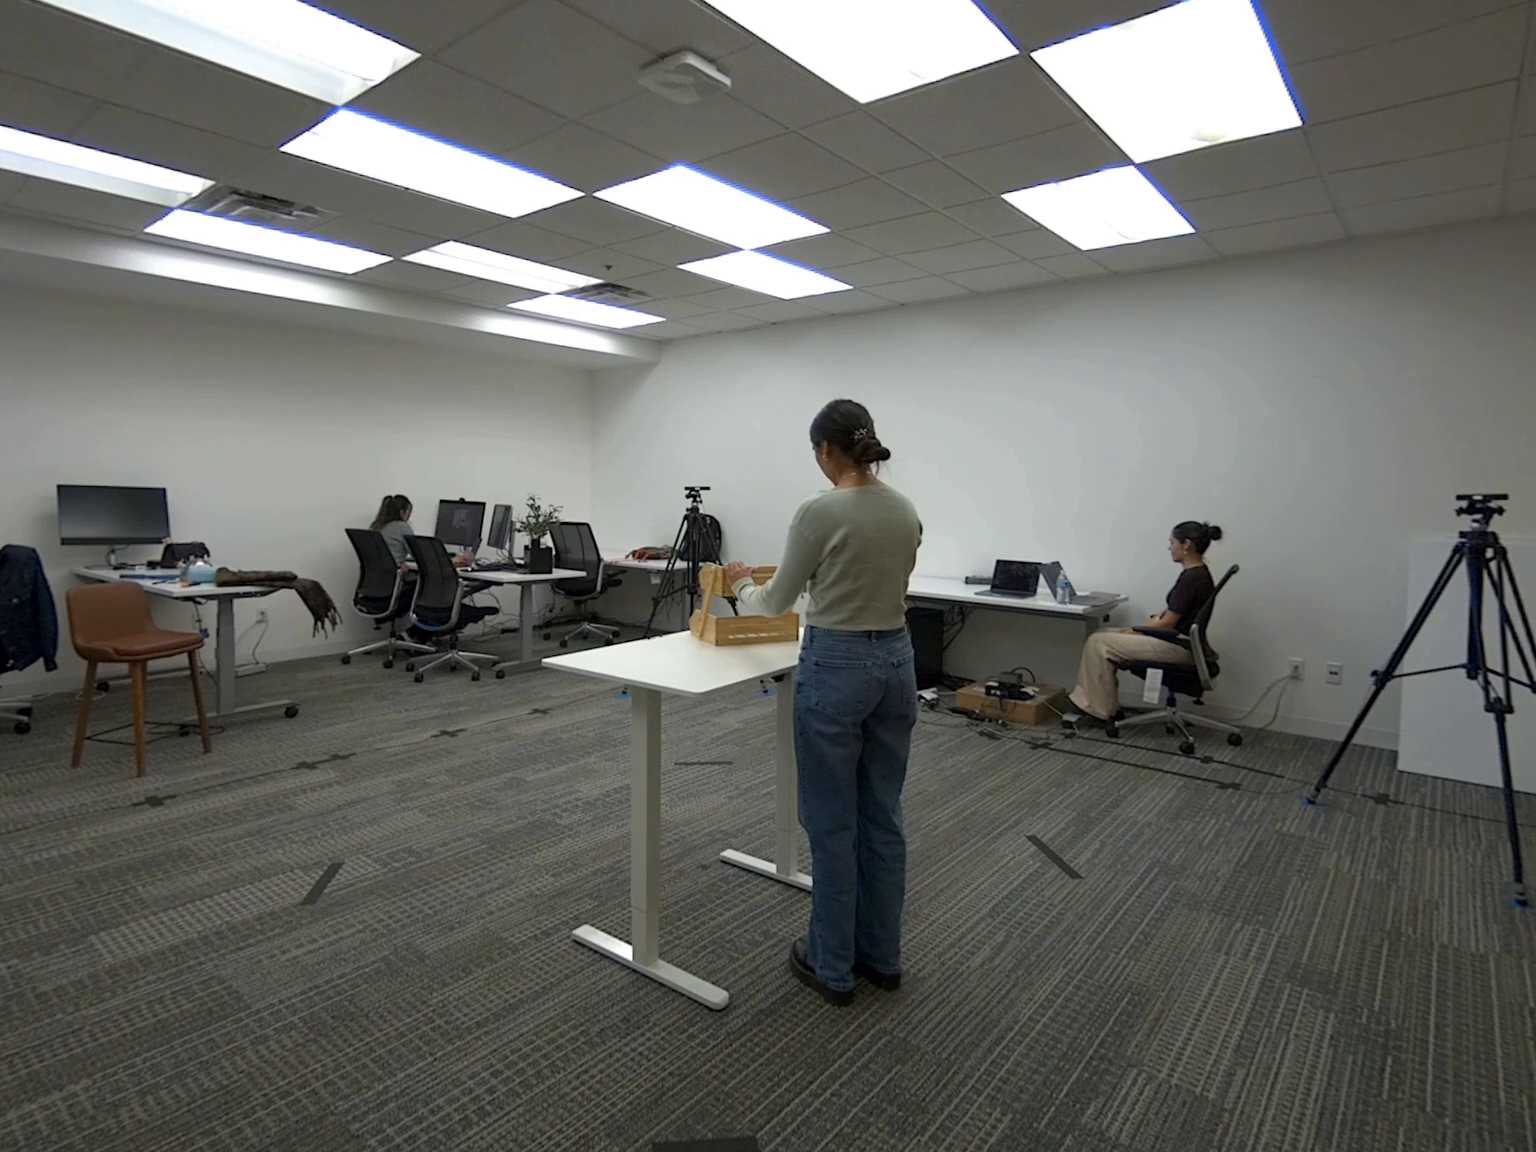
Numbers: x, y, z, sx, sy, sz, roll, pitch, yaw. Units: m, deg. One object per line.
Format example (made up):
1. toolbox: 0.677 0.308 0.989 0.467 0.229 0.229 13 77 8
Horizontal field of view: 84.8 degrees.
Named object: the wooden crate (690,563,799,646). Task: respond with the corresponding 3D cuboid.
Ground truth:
1. wooden crate: -0.082 0.076 2.863 0.317 0.272 0.310 -2 6 -23
